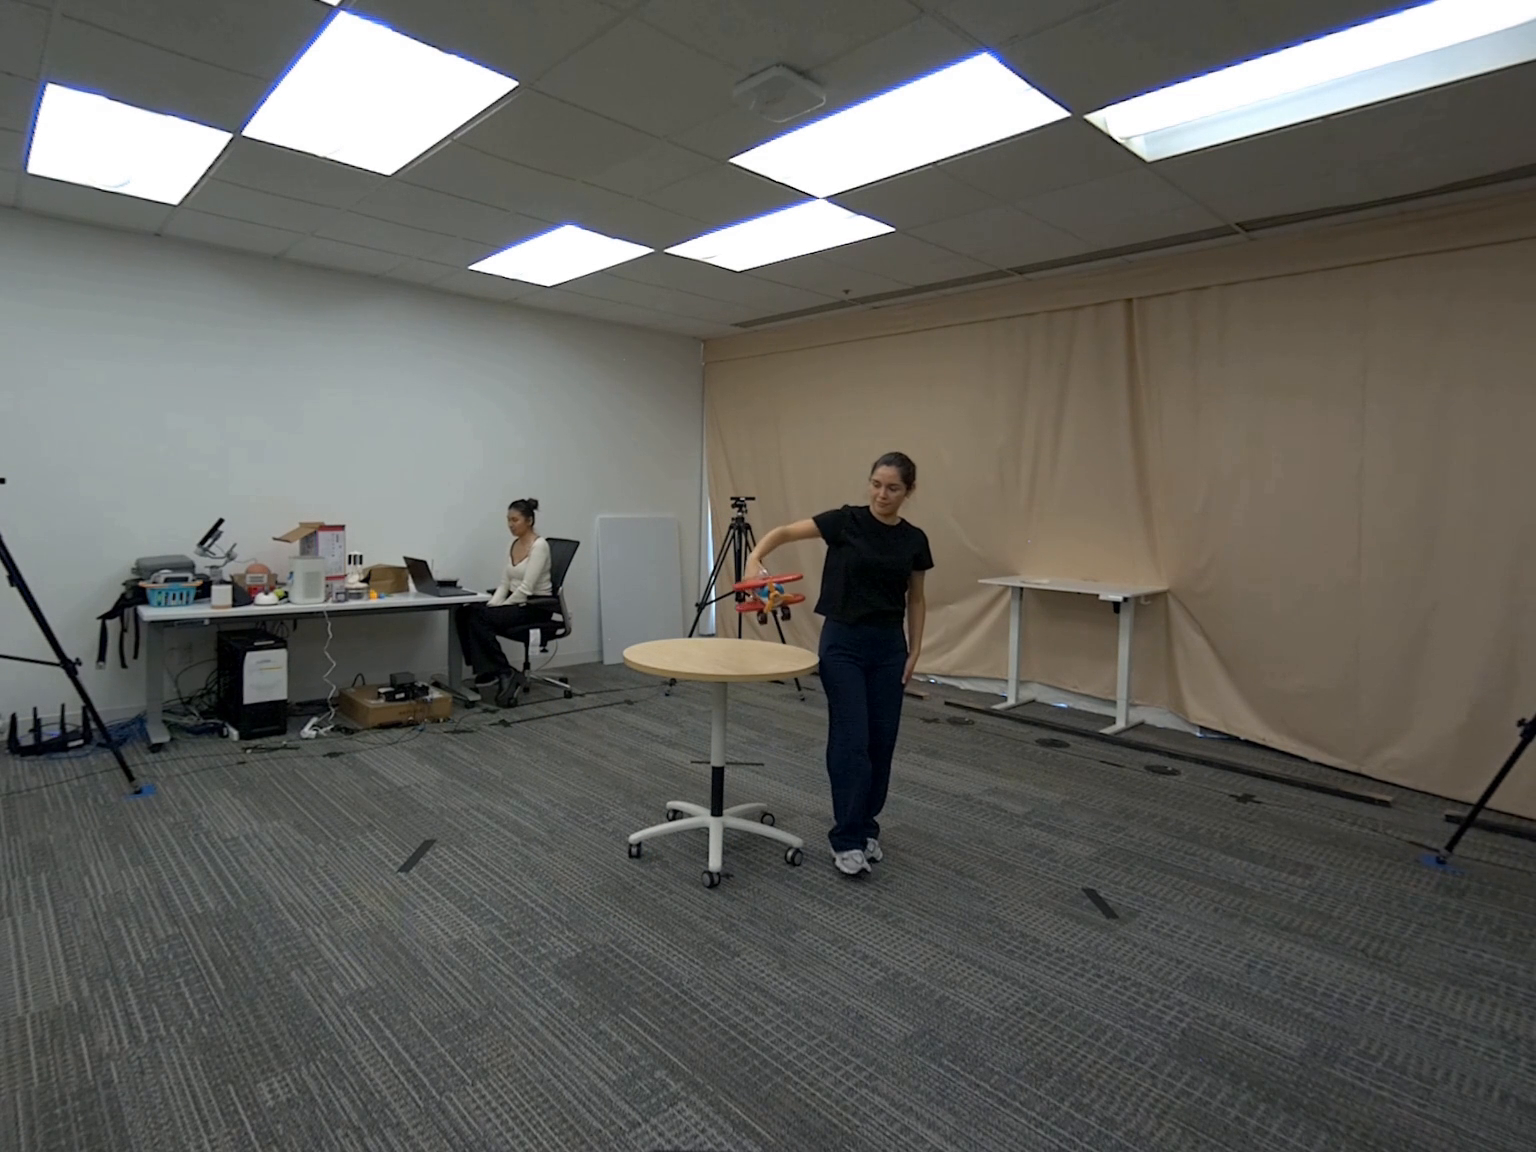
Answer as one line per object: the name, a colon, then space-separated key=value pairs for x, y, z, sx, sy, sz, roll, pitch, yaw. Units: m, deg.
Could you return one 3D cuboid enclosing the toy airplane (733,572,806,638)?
toy airplane: x=-0.025 y=0.060 z=2.992 sx=0.248 sy=0.153 sz=0.267 roll=-24 pitch=32 yaw=-36
